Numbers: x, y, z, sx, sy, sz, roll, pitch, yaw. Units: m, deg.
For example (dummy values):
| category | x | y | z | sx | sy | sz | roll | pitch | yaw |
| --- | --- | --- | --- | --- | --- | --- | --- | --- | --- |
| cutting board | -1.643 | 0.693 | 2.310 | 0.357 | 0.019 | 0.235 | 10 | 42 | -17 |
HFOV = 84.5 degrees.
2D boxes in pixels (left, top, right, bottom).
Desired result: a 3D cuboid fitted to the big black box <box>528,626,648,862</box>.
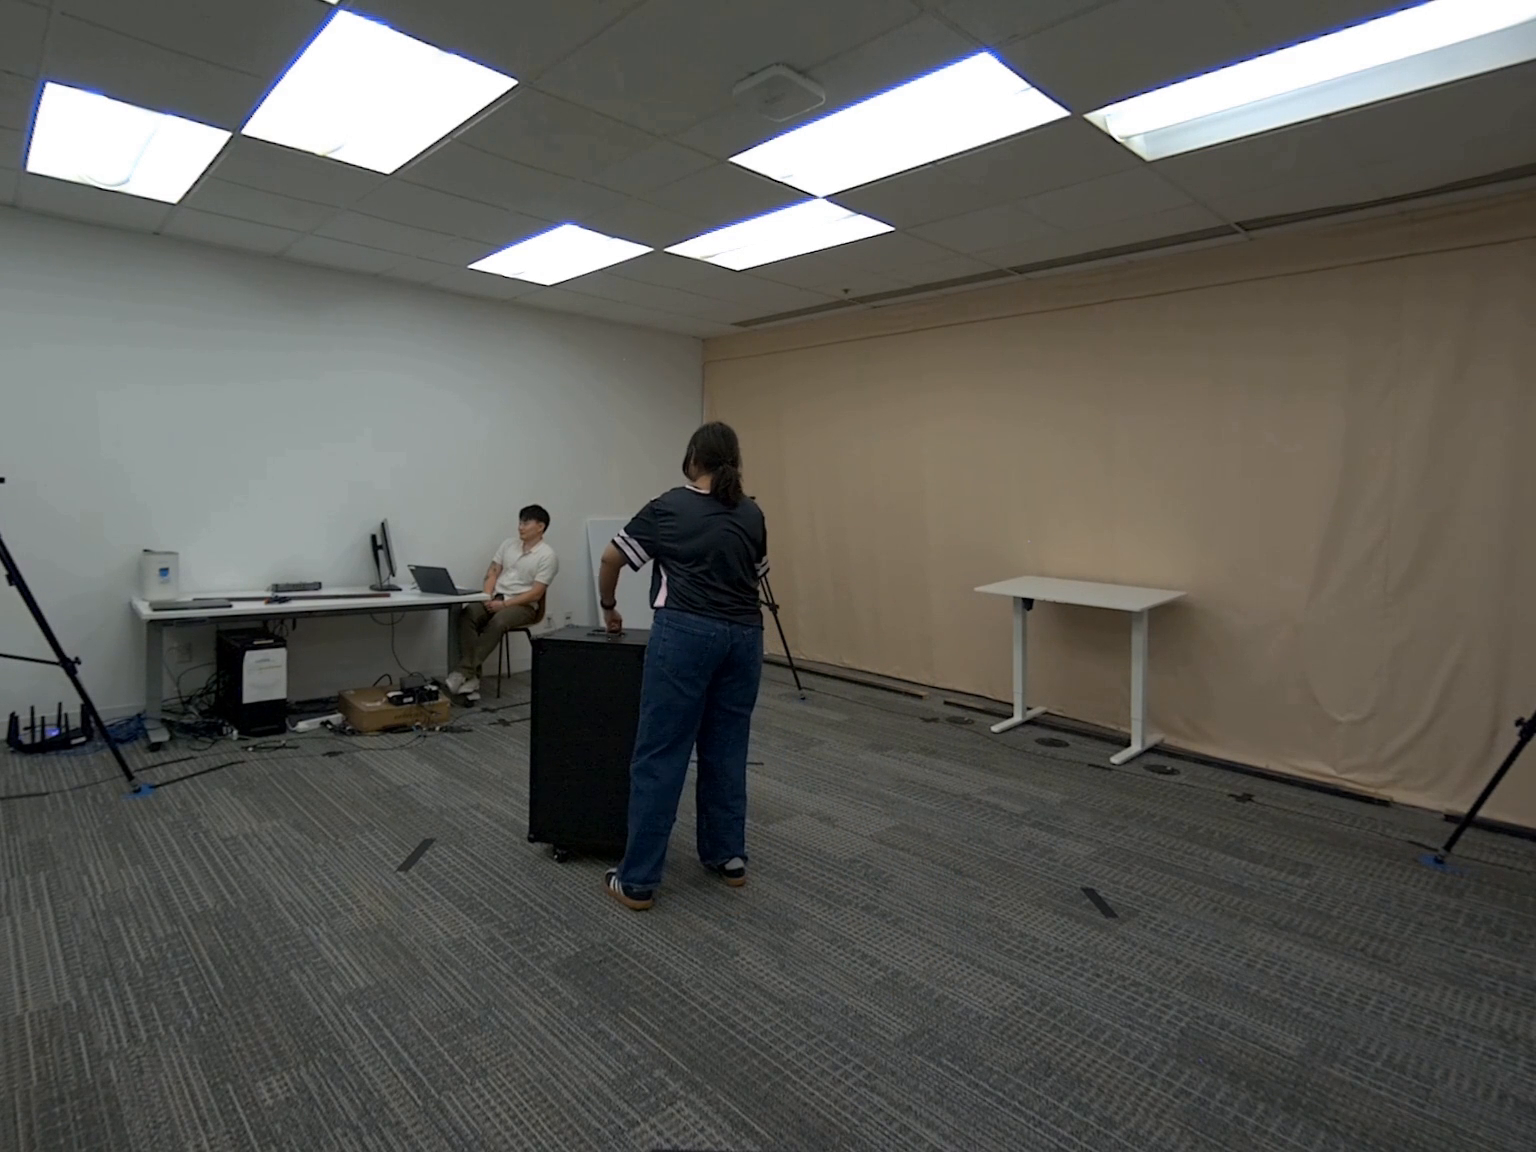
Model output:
| category | x | y | z | sx | sy | sz | roll | pitch | yaw |
| --- | --- | --- | --- | --- | --- | --- | --- | --- | --- |
| big black box | -0.650 | 0.655 | 3.308 | 0.527 | 0.867 | 0.383 | 3 | 2 | 7 |
